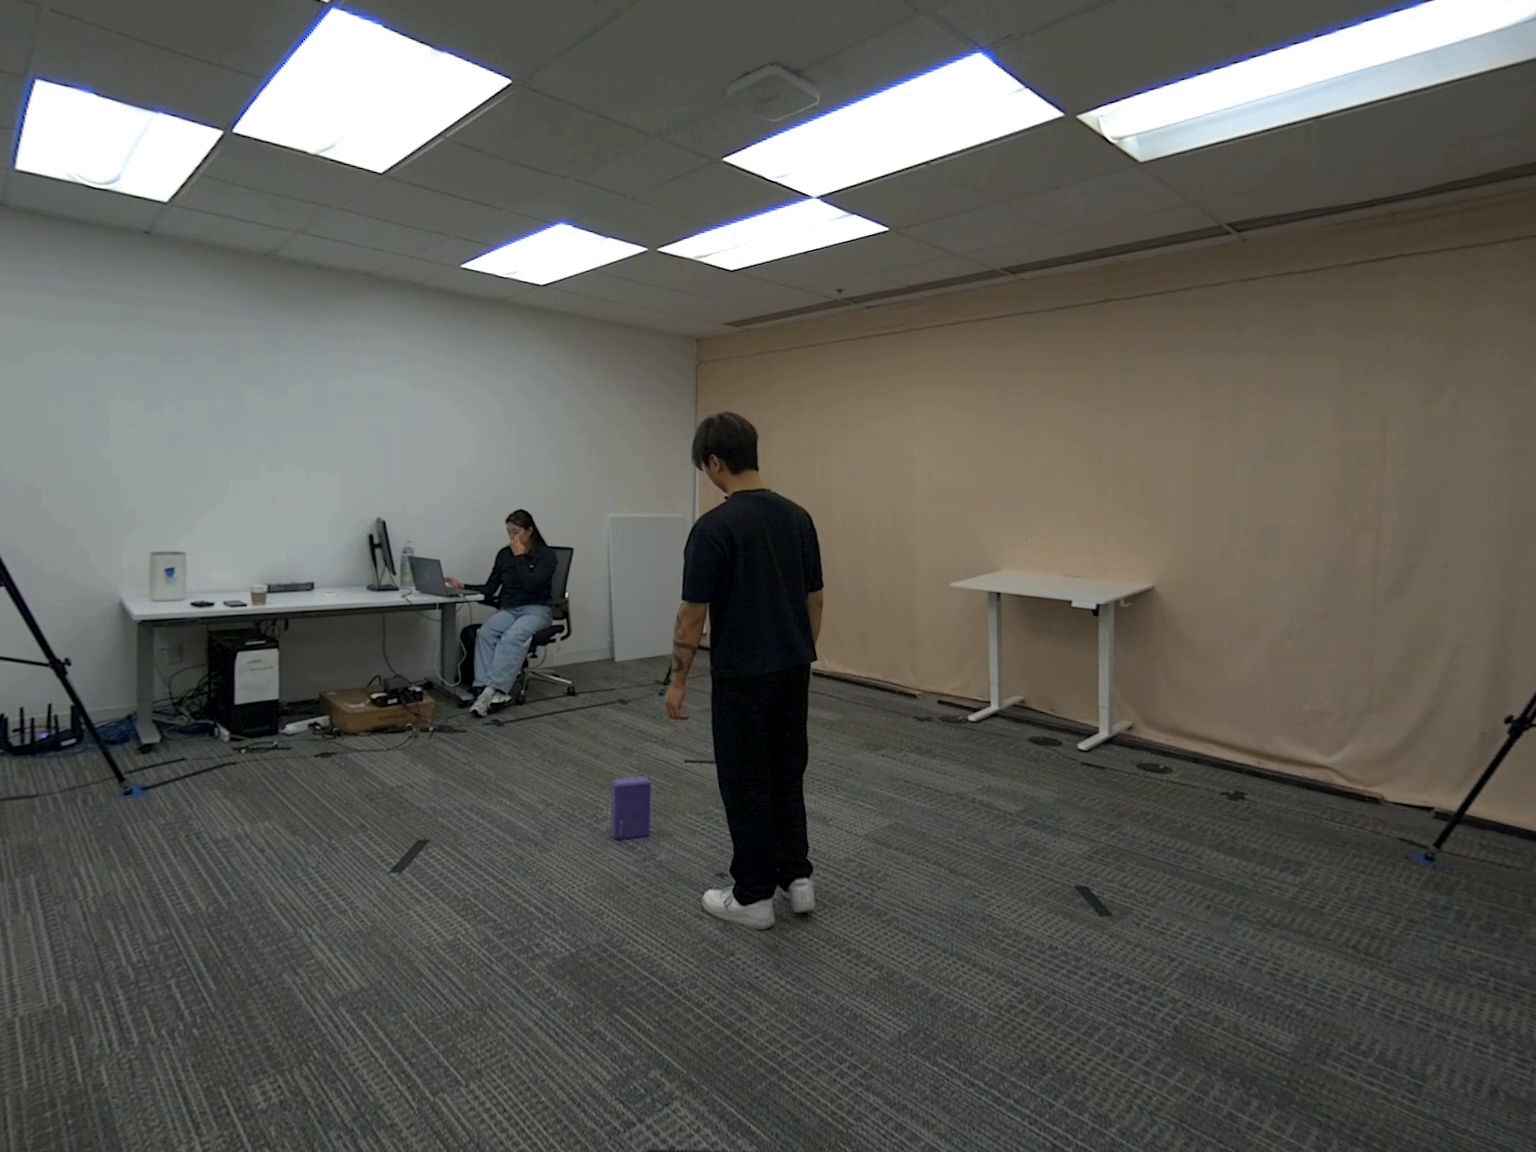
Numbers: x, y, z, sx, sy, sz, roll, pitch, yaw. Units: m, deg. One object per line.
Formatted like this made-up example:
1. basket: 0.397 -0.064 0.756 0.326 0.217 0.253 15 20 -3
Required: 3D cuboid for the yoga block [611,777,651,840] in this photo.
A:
1. yoga block: -0.569 0.947 3.440 0.146 0.229 0.078 -1 4 -22
